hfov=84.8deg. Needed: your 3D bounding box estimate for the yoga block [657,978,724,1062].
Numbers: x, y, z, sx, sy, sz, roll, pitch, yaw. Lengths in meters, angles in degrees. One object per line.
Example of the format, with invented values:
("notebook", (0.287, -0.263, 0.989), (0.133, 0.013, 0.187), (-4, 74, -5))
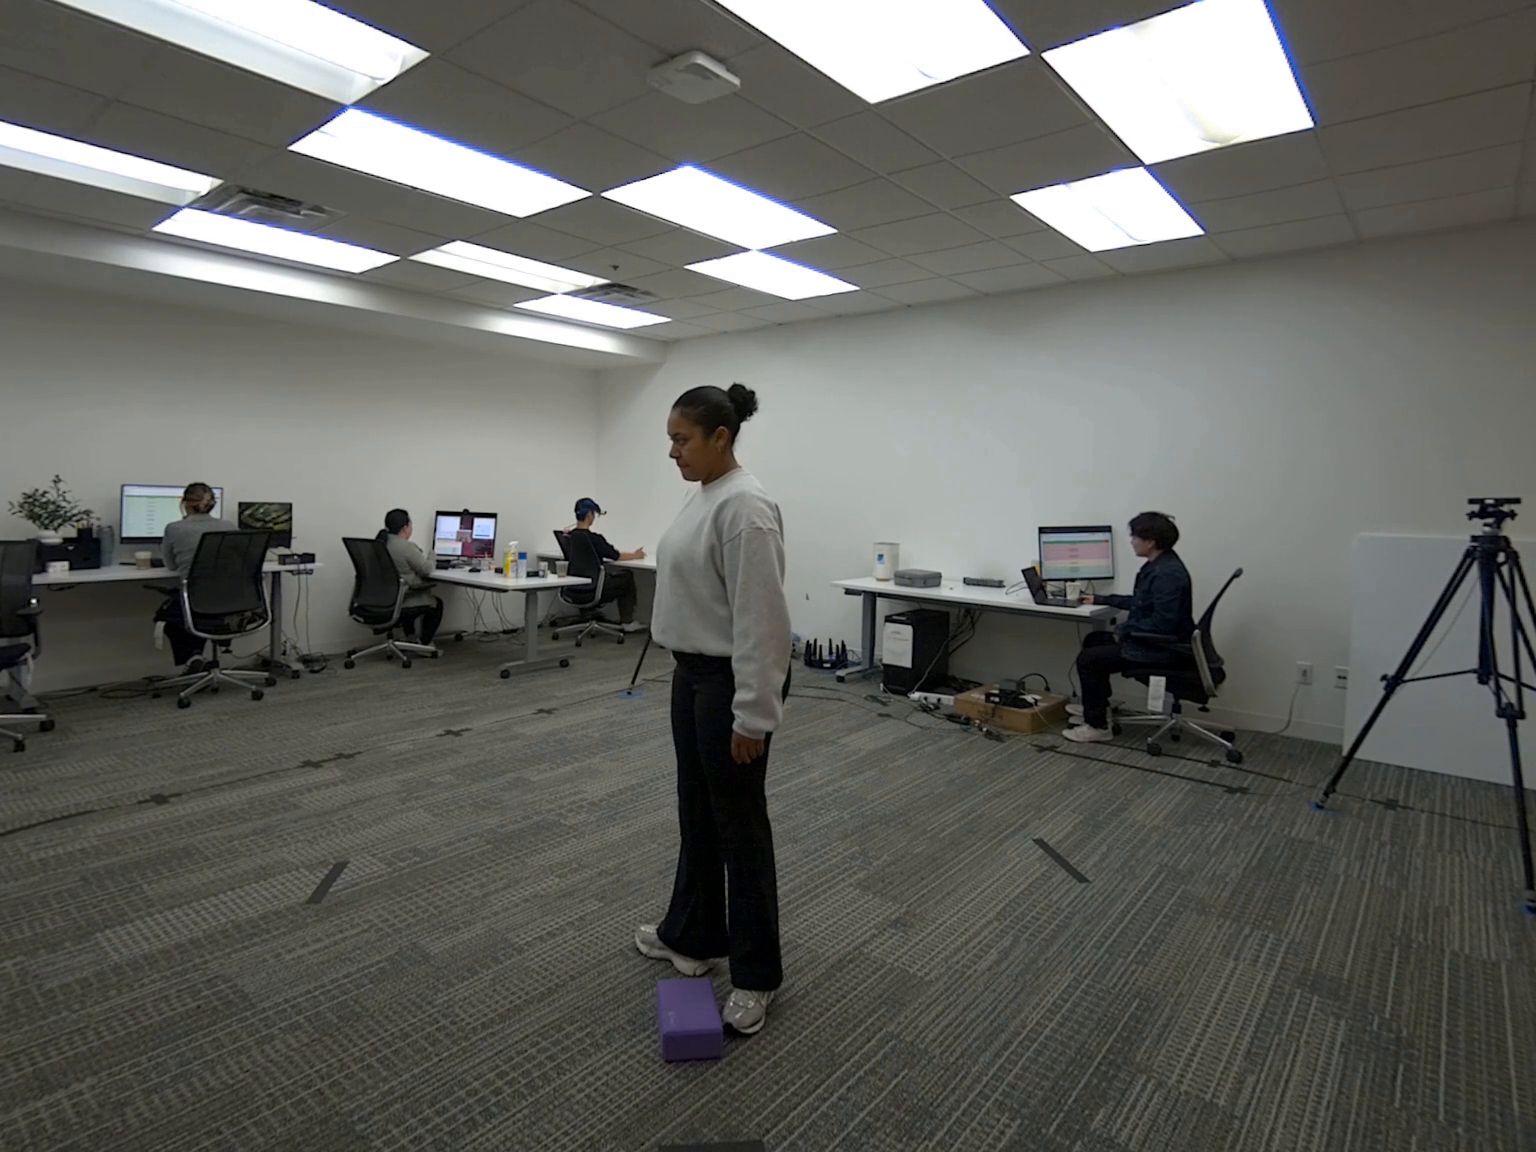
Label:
("yoga block", (-0.214, 1.118, 2.174), (0.147, 0.076, 0.232), (1, 6, -10))
